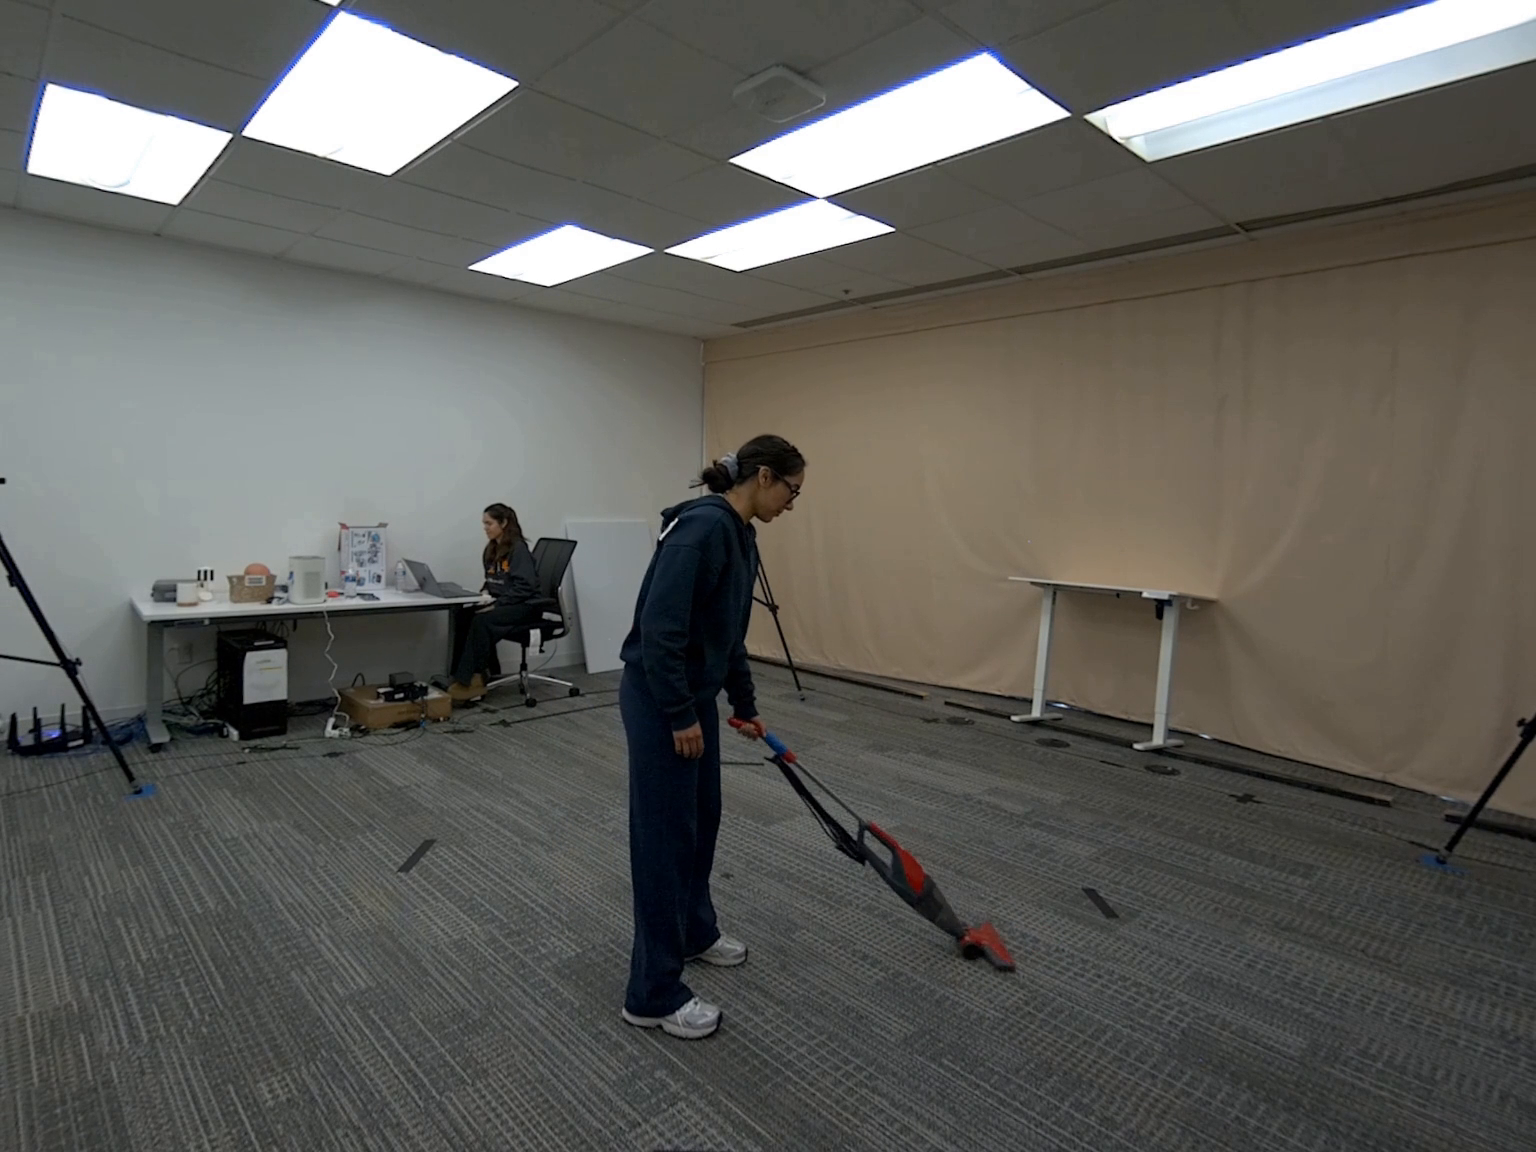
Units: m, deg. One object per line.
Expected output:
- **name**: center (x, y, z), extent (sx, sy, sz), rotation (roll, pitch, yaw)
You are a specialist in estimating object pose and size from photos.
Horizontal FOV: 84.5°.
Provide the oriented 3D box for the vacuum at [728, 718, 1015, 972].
- **vacuum**: center (0.274, 0.807, 2.626), extent (1.048, 0.144, 0.253), rotation (42, -1, -1)
